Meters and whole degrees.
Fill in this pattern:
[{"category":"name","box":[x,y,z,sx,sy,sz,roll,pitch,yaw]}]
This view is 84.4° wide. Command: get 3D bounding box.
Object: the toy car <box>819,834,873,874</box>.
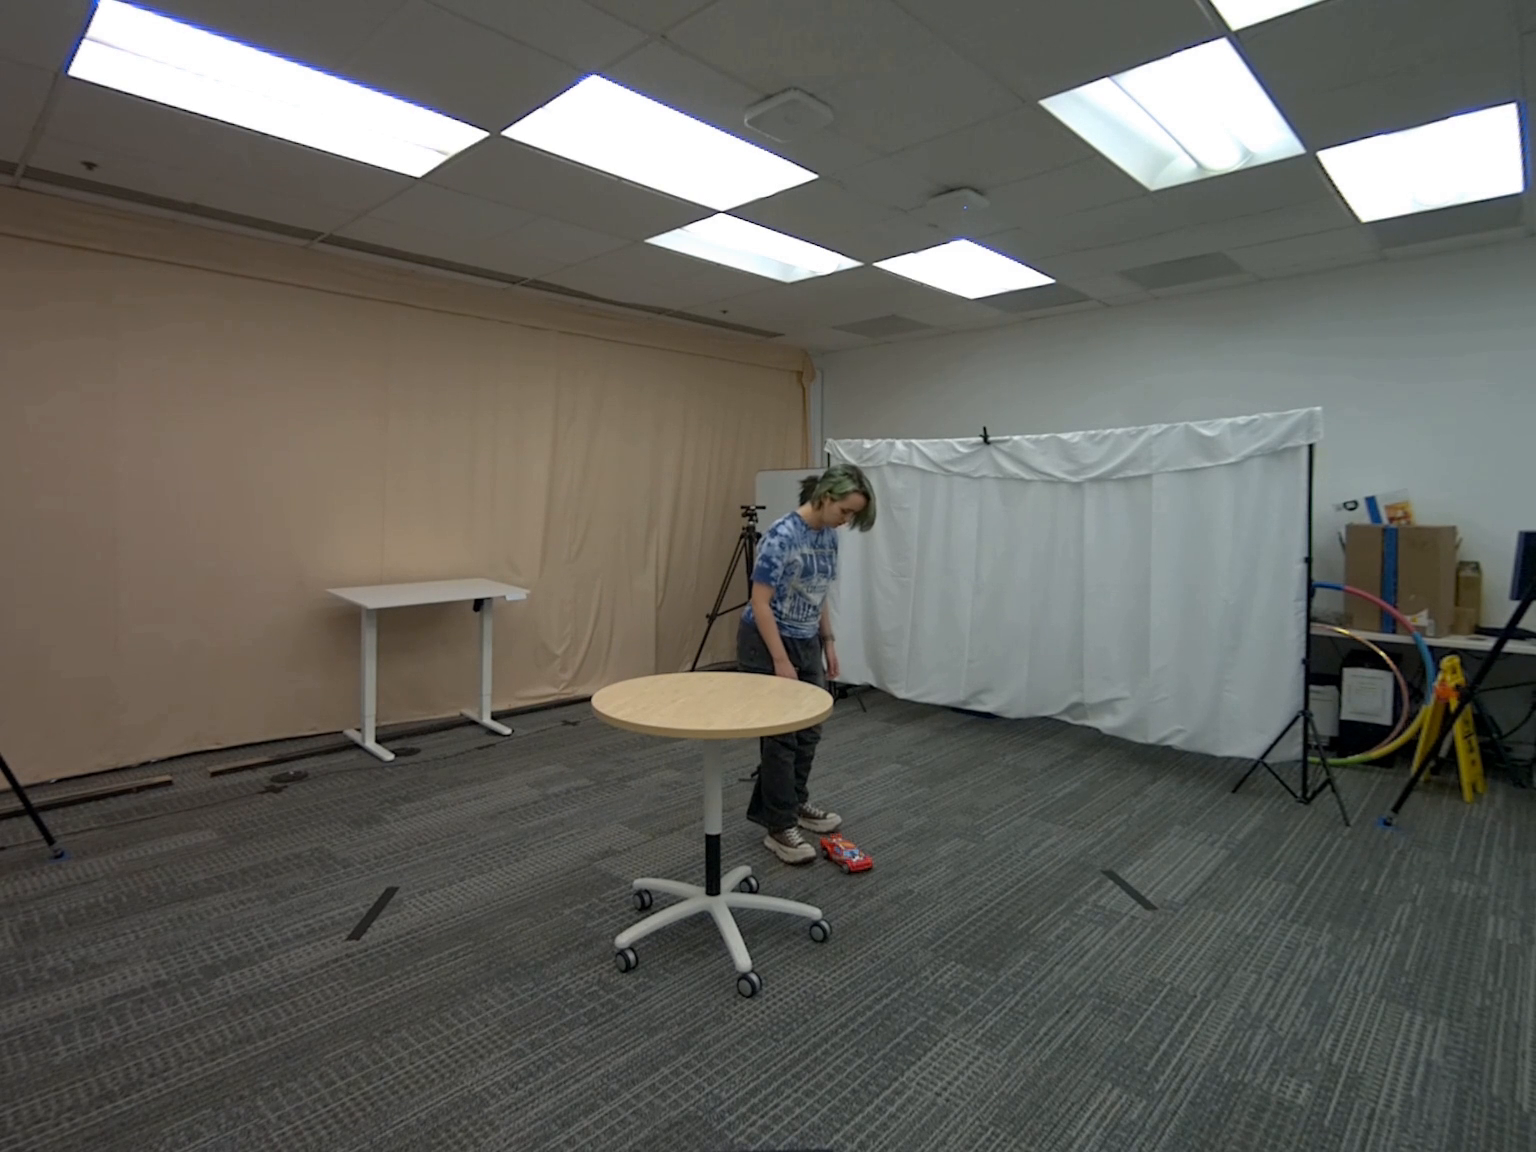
[{"category":"toy car","box":[0.306,1.087,3.286,0.127,0.082,0.262,-1,15,-26]}]
